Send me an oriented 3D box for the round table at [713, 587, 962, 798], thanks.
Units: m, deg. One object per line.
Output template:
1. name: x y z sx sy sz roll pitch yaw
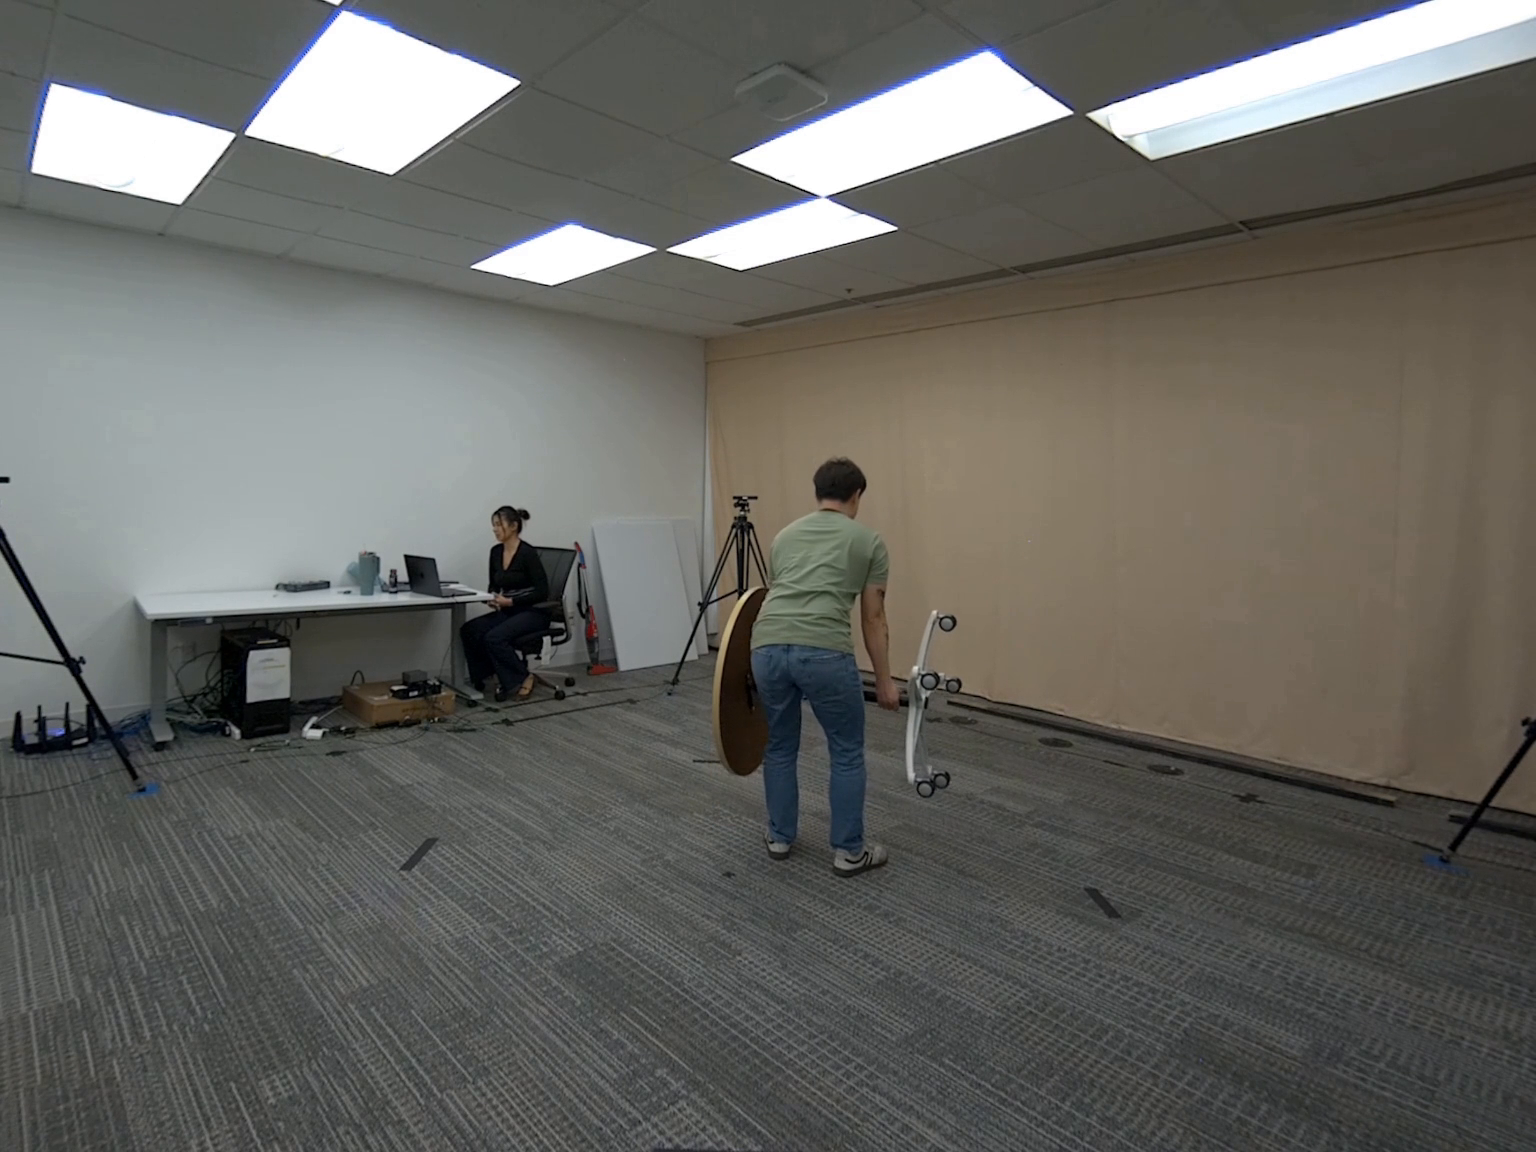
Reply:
1. round table: 0.298 0.468 3.299 0.808 0.761 0.753 5 5 21
